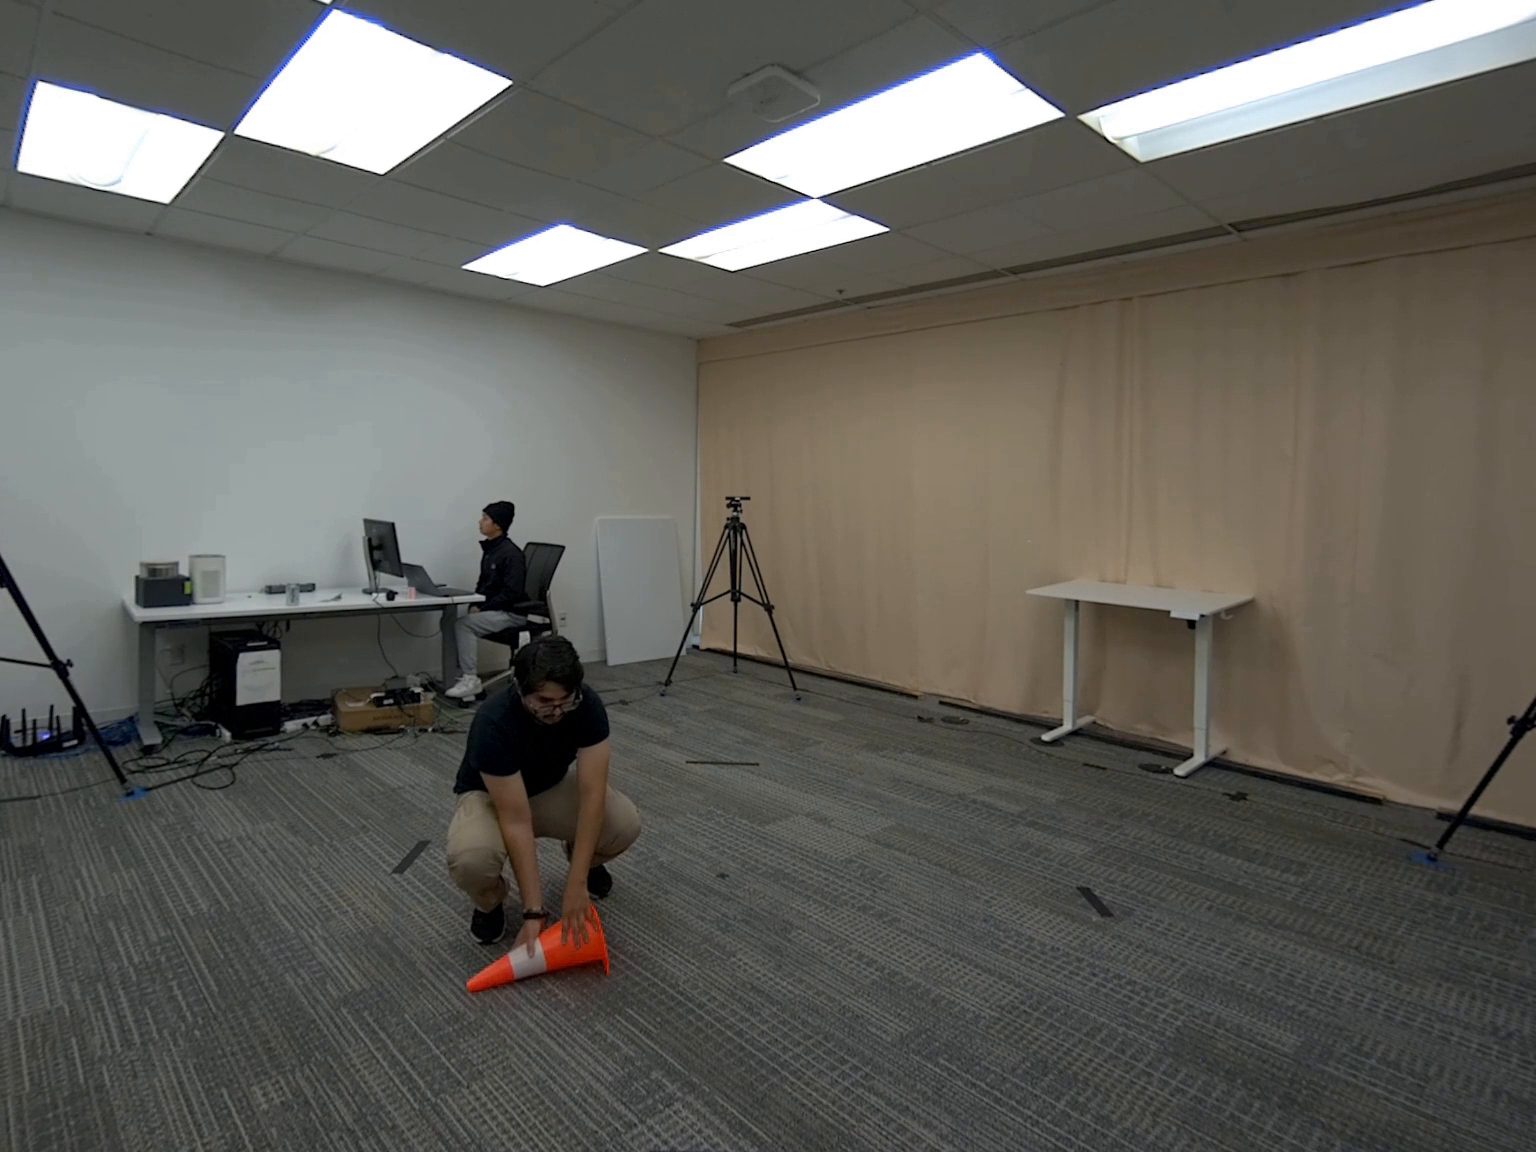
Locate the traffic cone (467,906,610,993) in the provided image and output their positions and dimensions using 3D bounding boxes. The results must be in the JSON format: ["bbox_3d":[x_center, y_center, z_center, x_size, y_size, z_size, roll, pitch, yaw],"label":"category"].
[{"bbox_3d":[-0.689,1.115,2.426,0.379,0.204,0.207,-16,8,-23],"label":"traffic cone"}]
